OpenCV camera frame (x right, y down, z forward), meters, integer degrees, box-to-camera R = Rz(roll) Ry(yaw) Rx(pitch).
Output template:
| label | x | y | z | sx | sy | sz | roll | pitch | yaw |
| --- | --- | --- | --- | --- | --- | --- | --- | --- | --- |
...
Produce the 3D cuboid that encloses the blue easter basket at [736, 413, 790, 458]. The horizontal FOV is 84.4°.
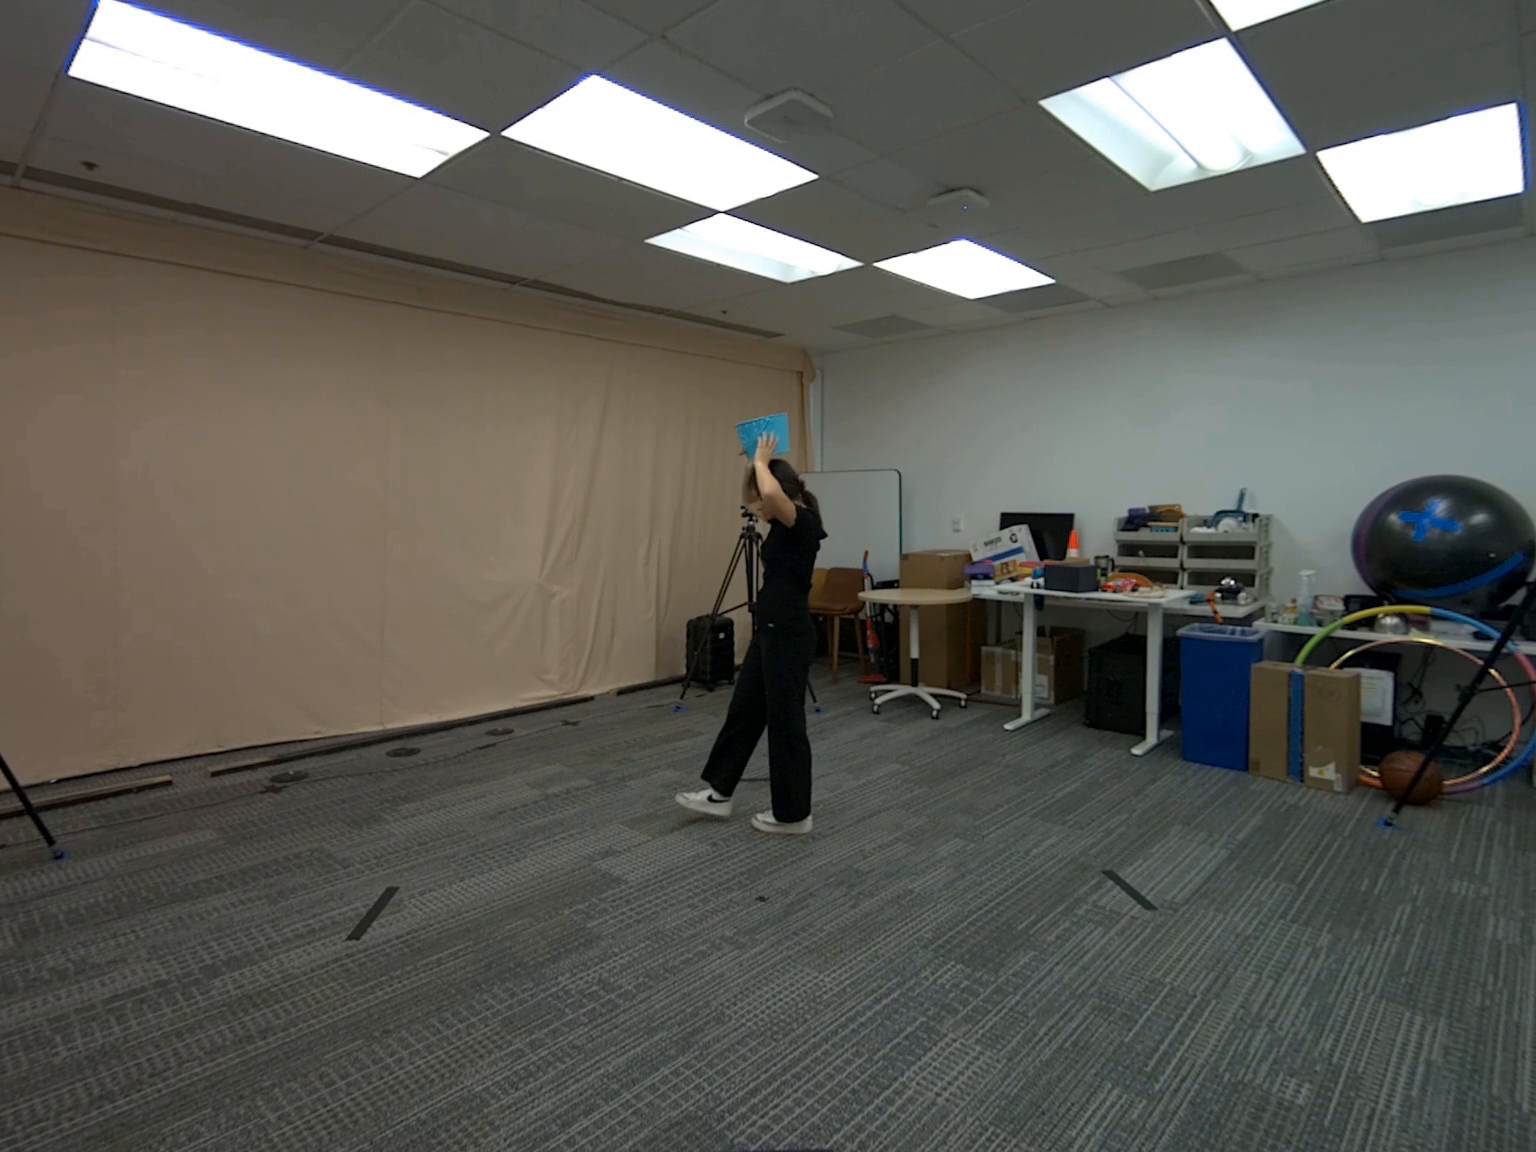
| label | x | y | z | sx | sy | sz | roll | pitch | yaw |
| --- | --- | --- | --- | --- | --- | --- | --- | --- | --- |
| blue easter basket | -0.018 | -0.574 | 3.511 | 0.243 | 0.155 | 0.244 | -16 | 5 | -1 |
